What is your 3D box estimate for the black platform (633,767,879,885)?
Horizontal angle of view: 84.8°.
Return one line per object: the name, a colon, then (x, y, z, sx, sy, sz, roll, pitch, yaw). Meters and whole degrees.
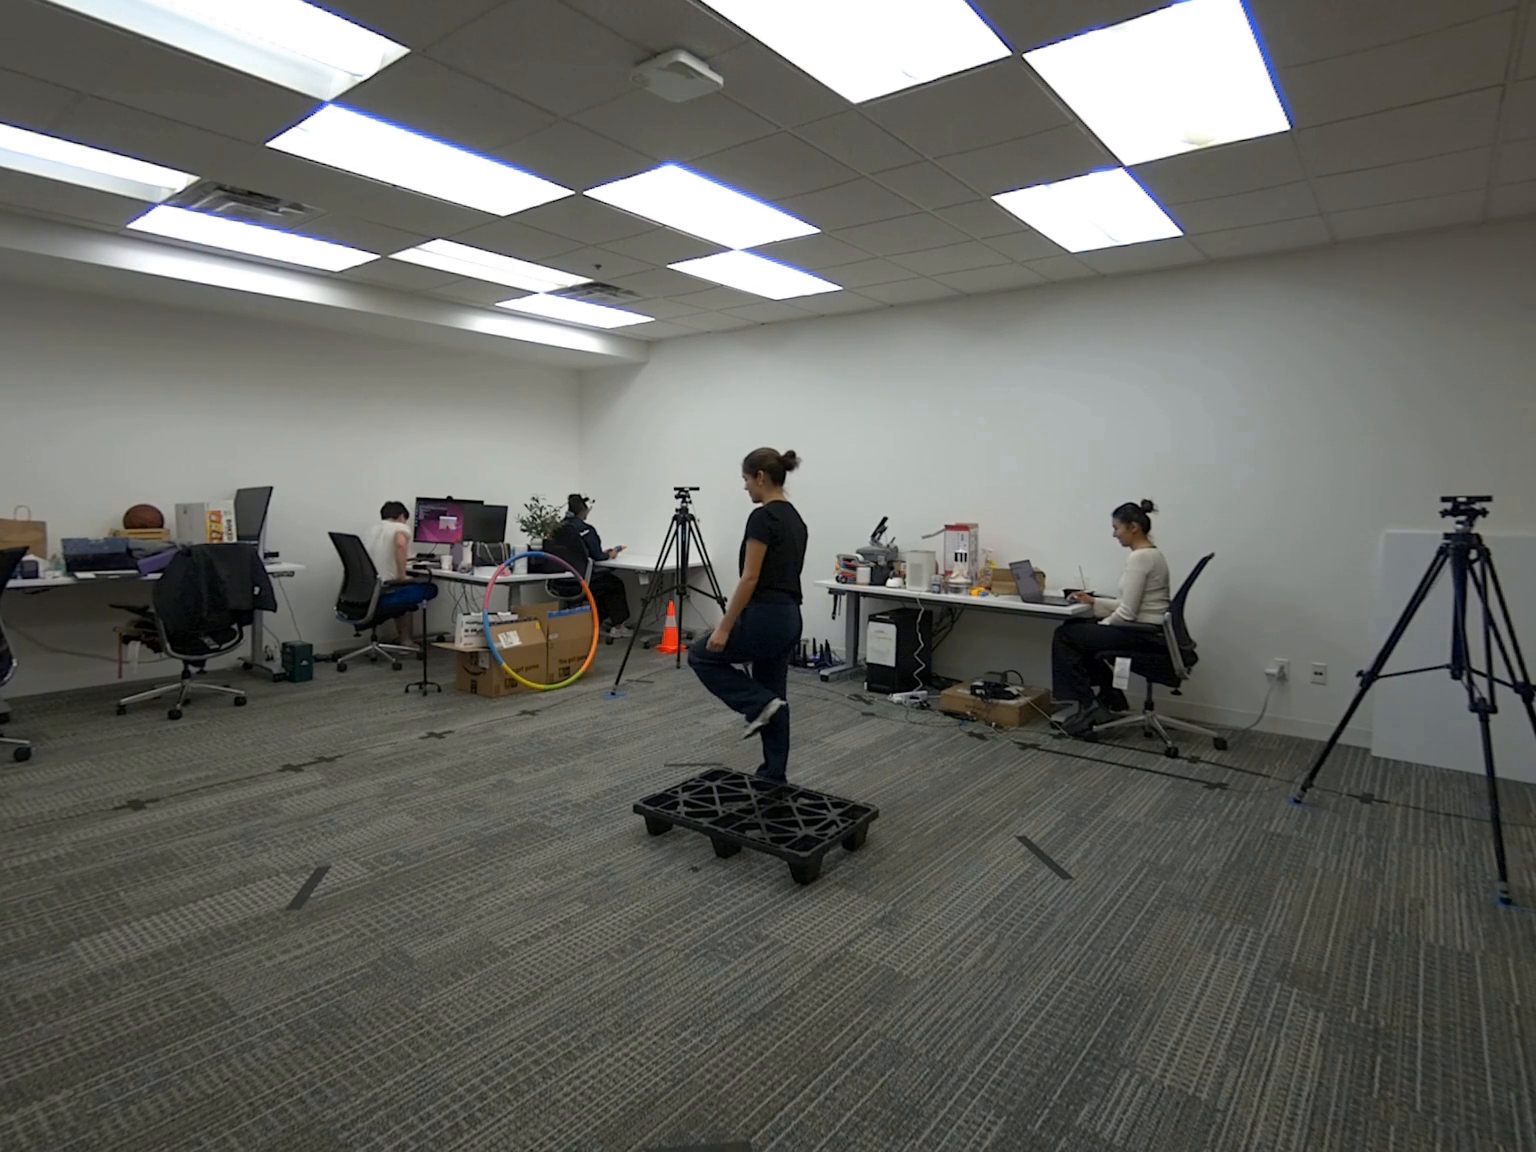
black platform: (-0.033, 0.974, 3.402, 0.832, 0.143, 0.588, 5, 6, 35)
